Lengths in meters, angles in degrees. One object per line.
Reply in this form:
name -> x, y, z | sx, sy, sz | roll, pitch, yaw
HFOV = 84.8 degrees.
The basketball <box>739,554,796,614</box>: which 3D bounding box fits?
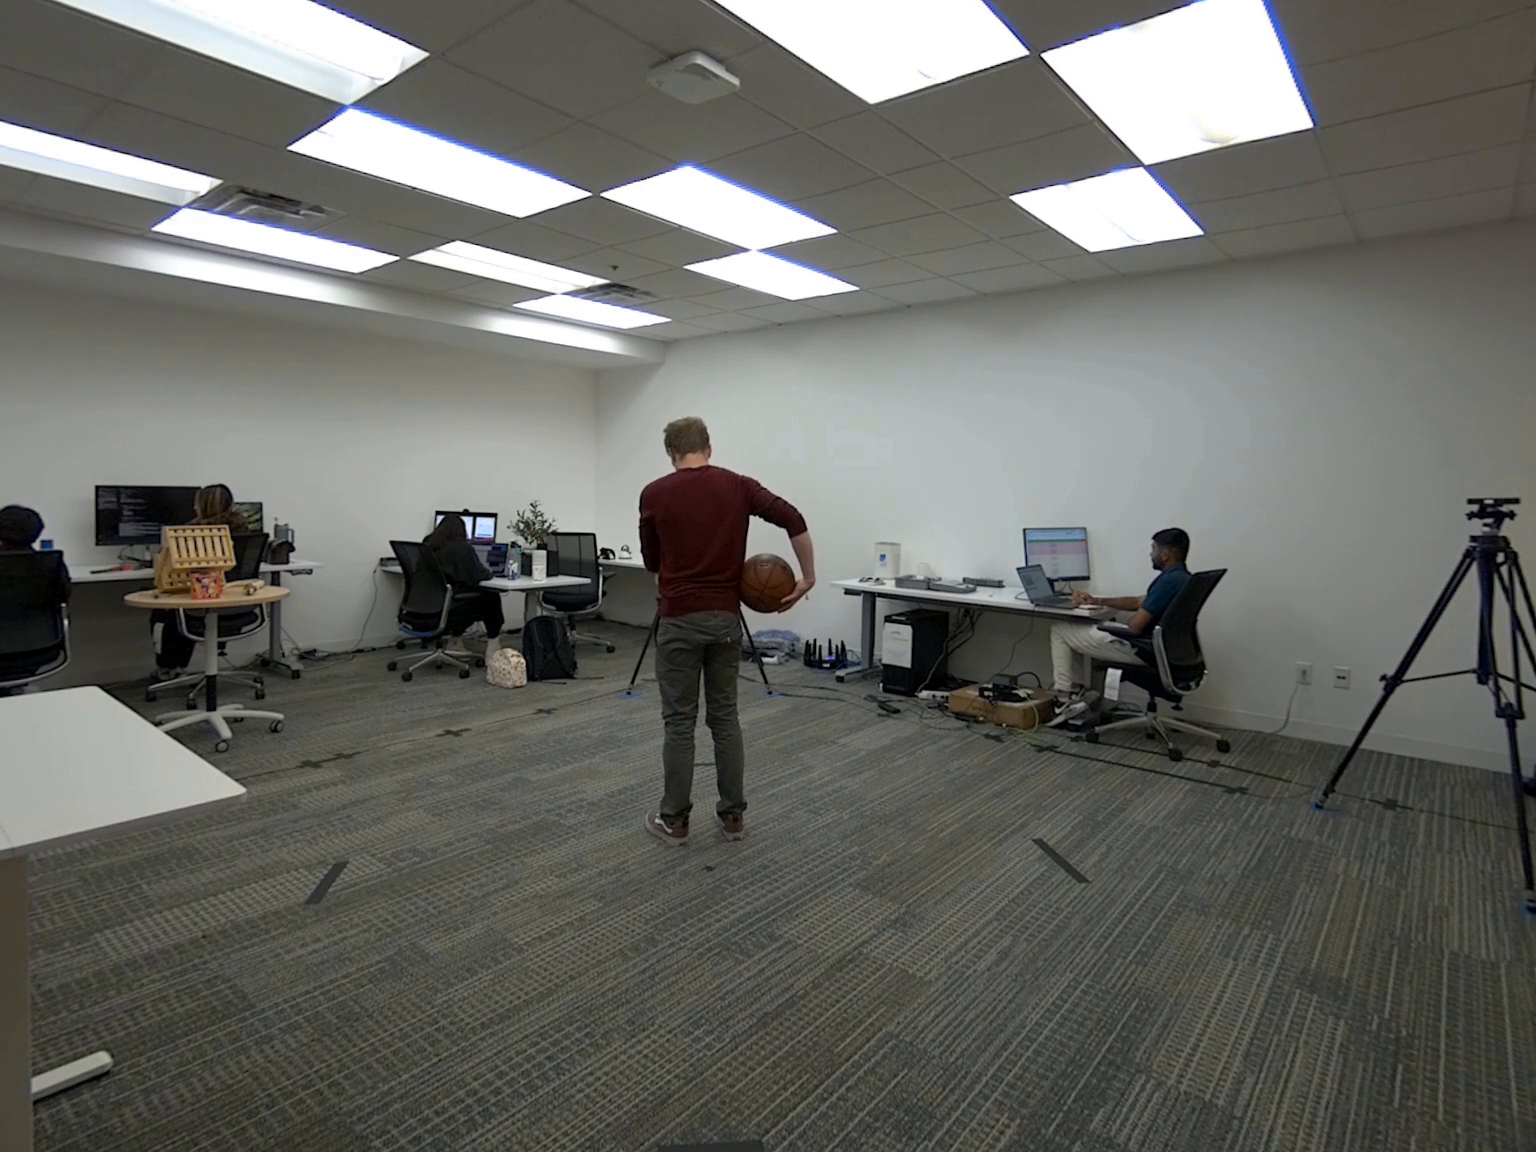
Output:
basketball -> -0.028, 0.024, 3.400 | 0.235, 0.235, 0.237 | 1, 4, -2
